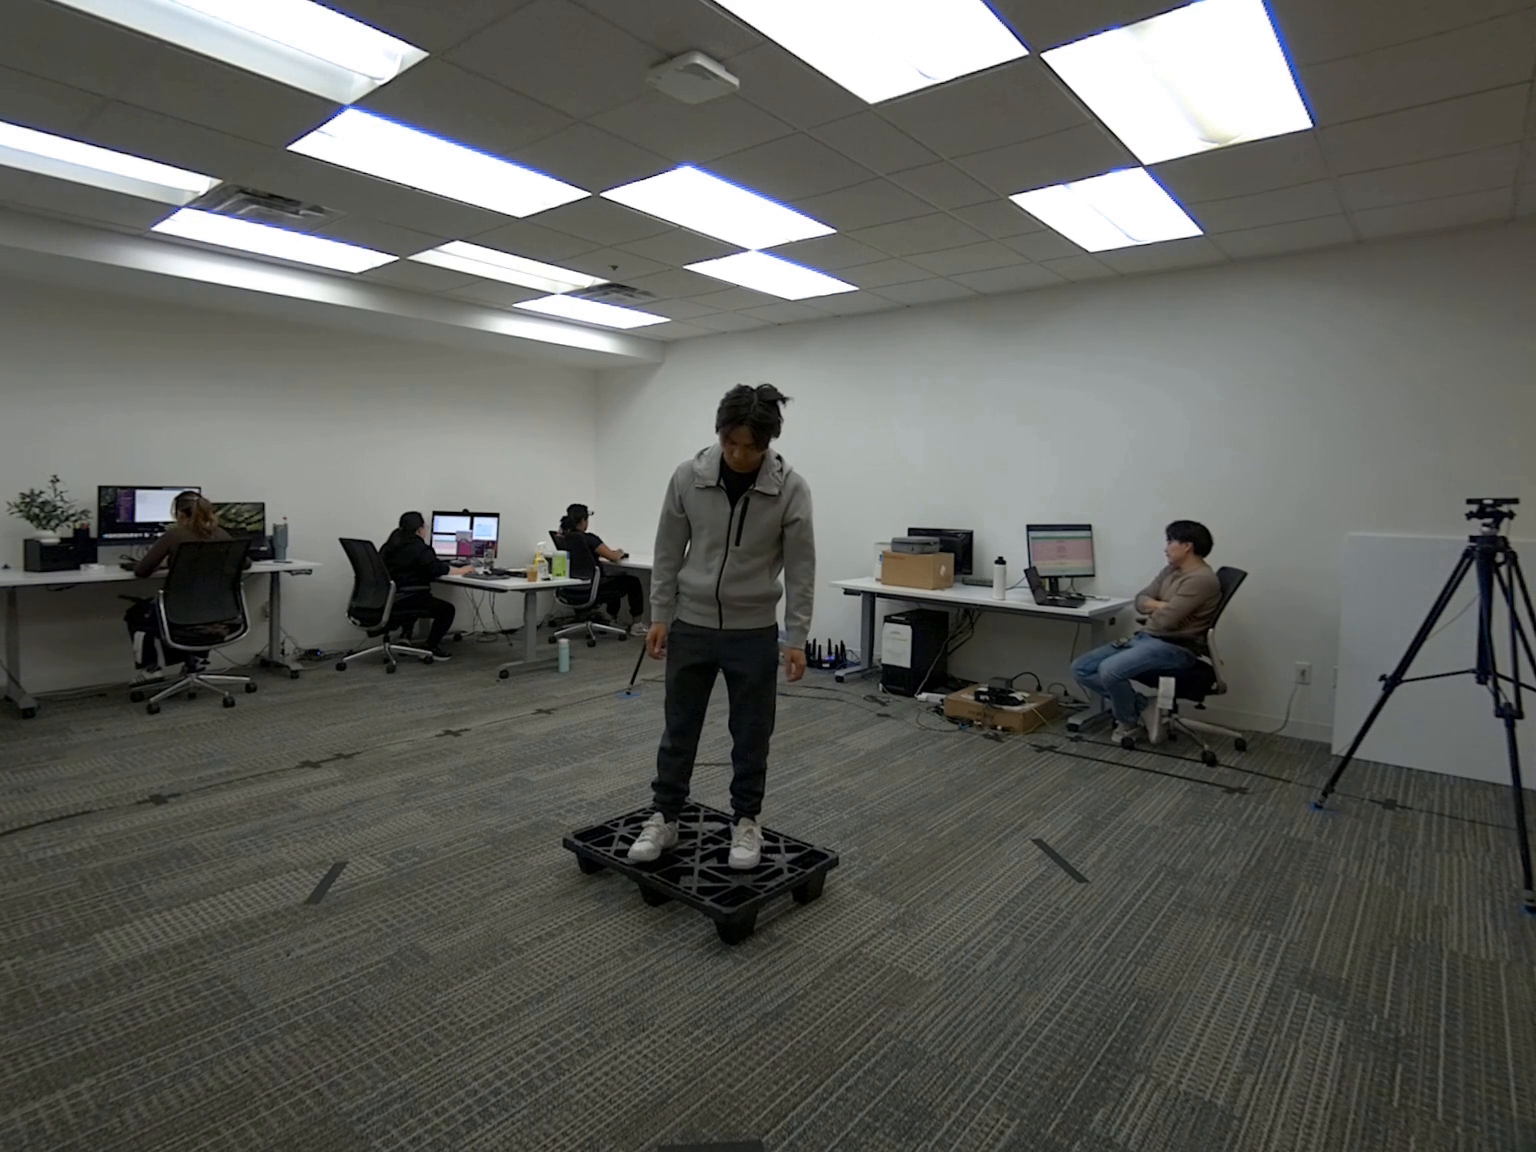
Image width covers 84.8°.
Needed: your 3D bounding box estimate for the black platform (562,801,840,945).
[{"bbox_3d":[-0.254,1.007,2.999,0.833,0.143,0.587,6,7,40],"label":"black platform"}]
